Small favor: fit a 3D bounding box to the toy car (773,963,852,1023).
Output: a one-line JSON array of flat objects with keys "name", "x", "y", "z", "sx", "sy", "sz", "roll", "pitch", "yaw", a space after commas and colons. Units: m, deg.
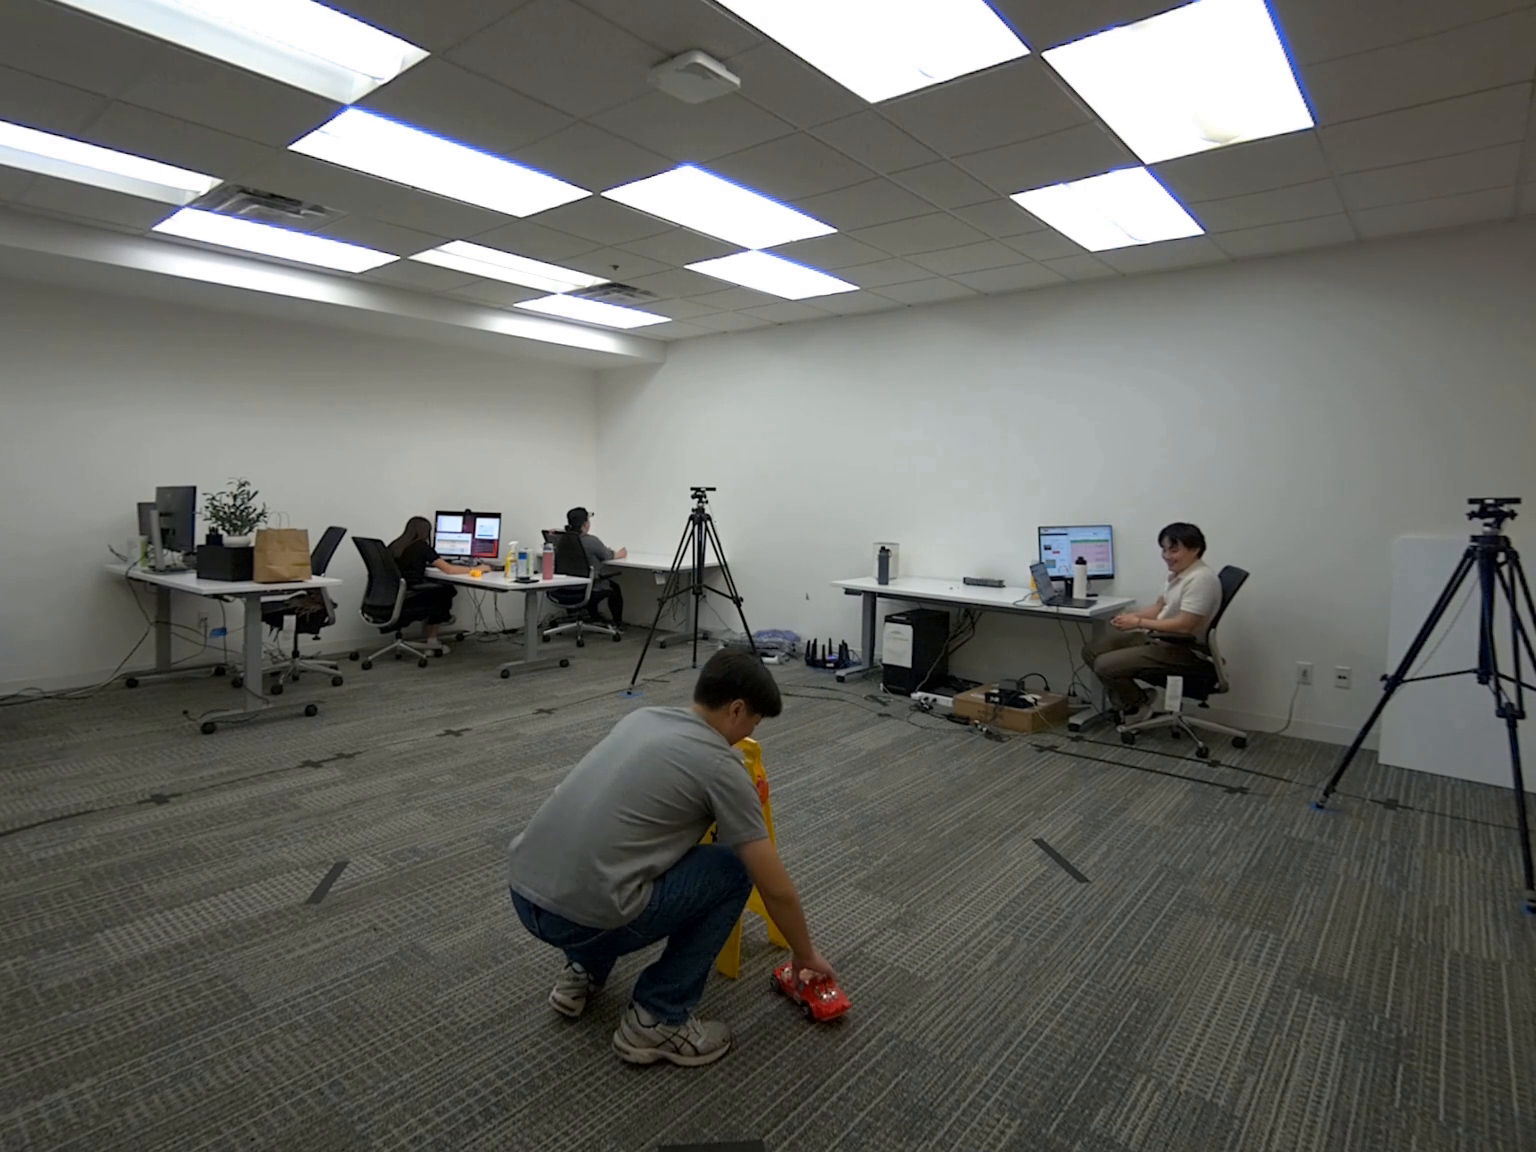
[{"name": "toy car", "x": 0.095, "y": 1.125, "z": 2.306, "sx": 0.127, "sy": 0.083, "sz": 0.260, "roll": -3, "pitch": -4, "yaw": -33}]
